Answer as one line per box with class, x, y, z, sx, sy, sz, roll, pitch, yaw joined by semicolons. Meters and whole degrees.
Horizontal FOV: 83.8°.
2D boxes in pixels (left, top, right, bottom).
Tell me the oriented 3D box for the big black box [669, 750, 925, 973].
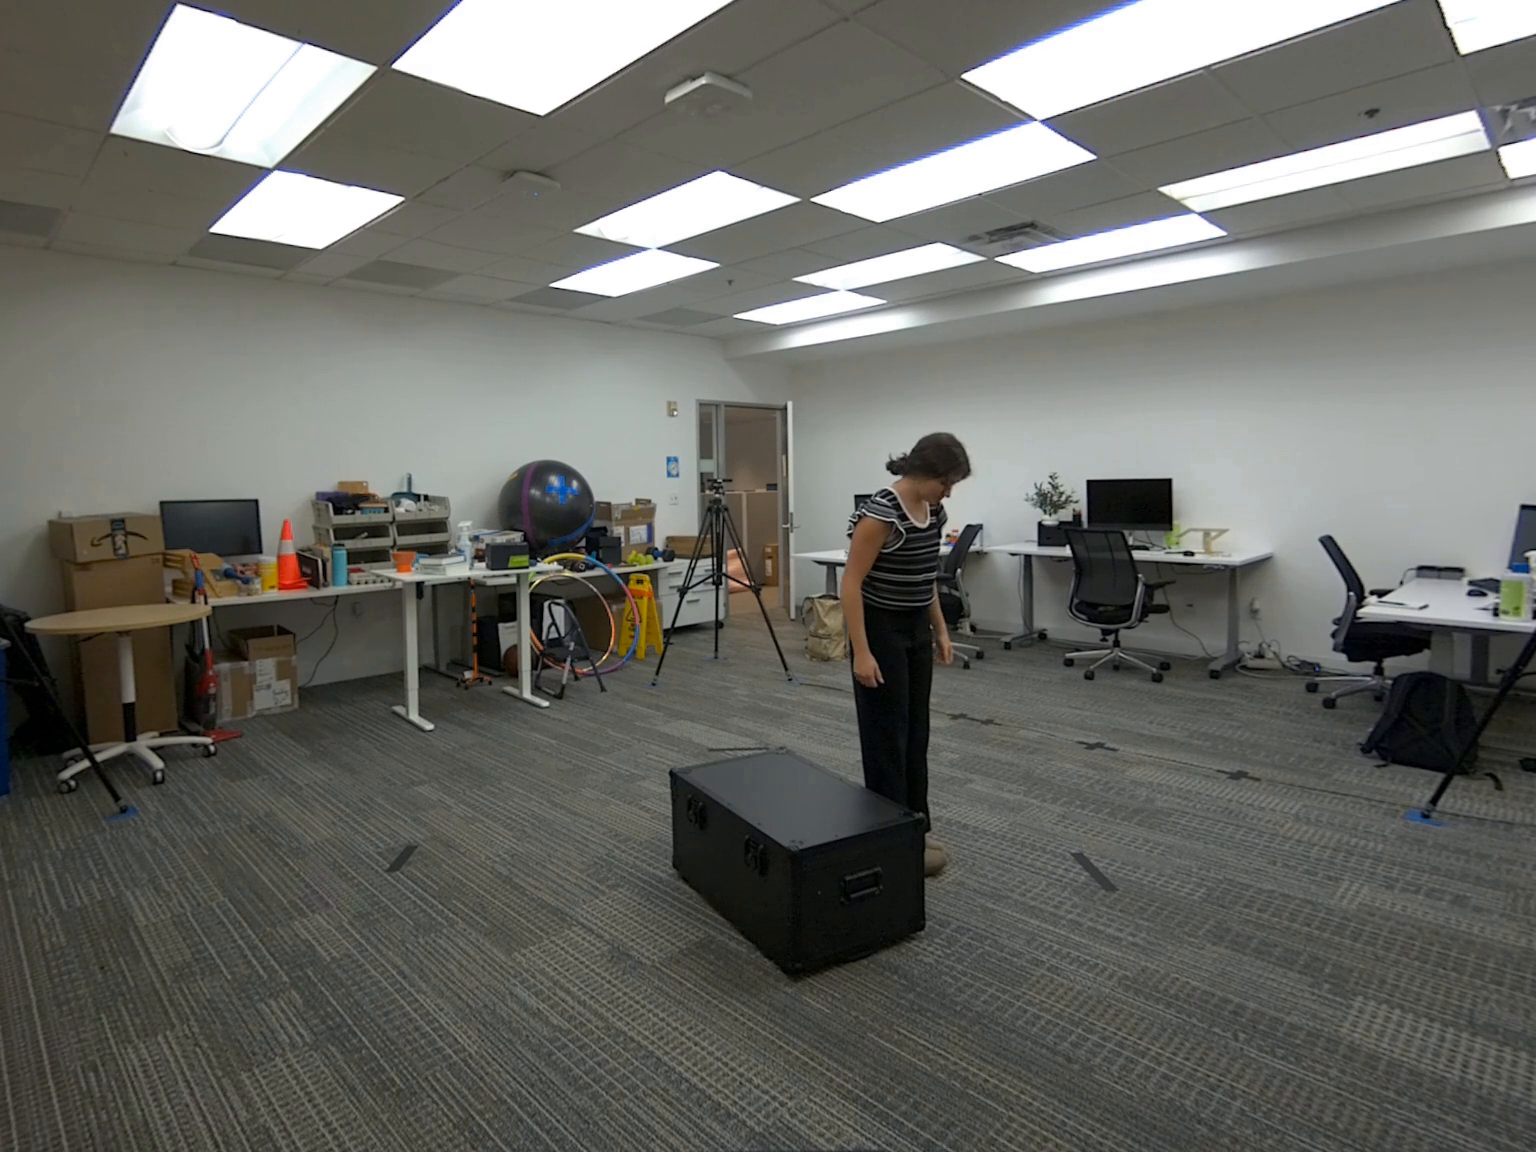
big black box;0.053;0.884;2.827;0.509;0.394;0.886;-4;7;-30
